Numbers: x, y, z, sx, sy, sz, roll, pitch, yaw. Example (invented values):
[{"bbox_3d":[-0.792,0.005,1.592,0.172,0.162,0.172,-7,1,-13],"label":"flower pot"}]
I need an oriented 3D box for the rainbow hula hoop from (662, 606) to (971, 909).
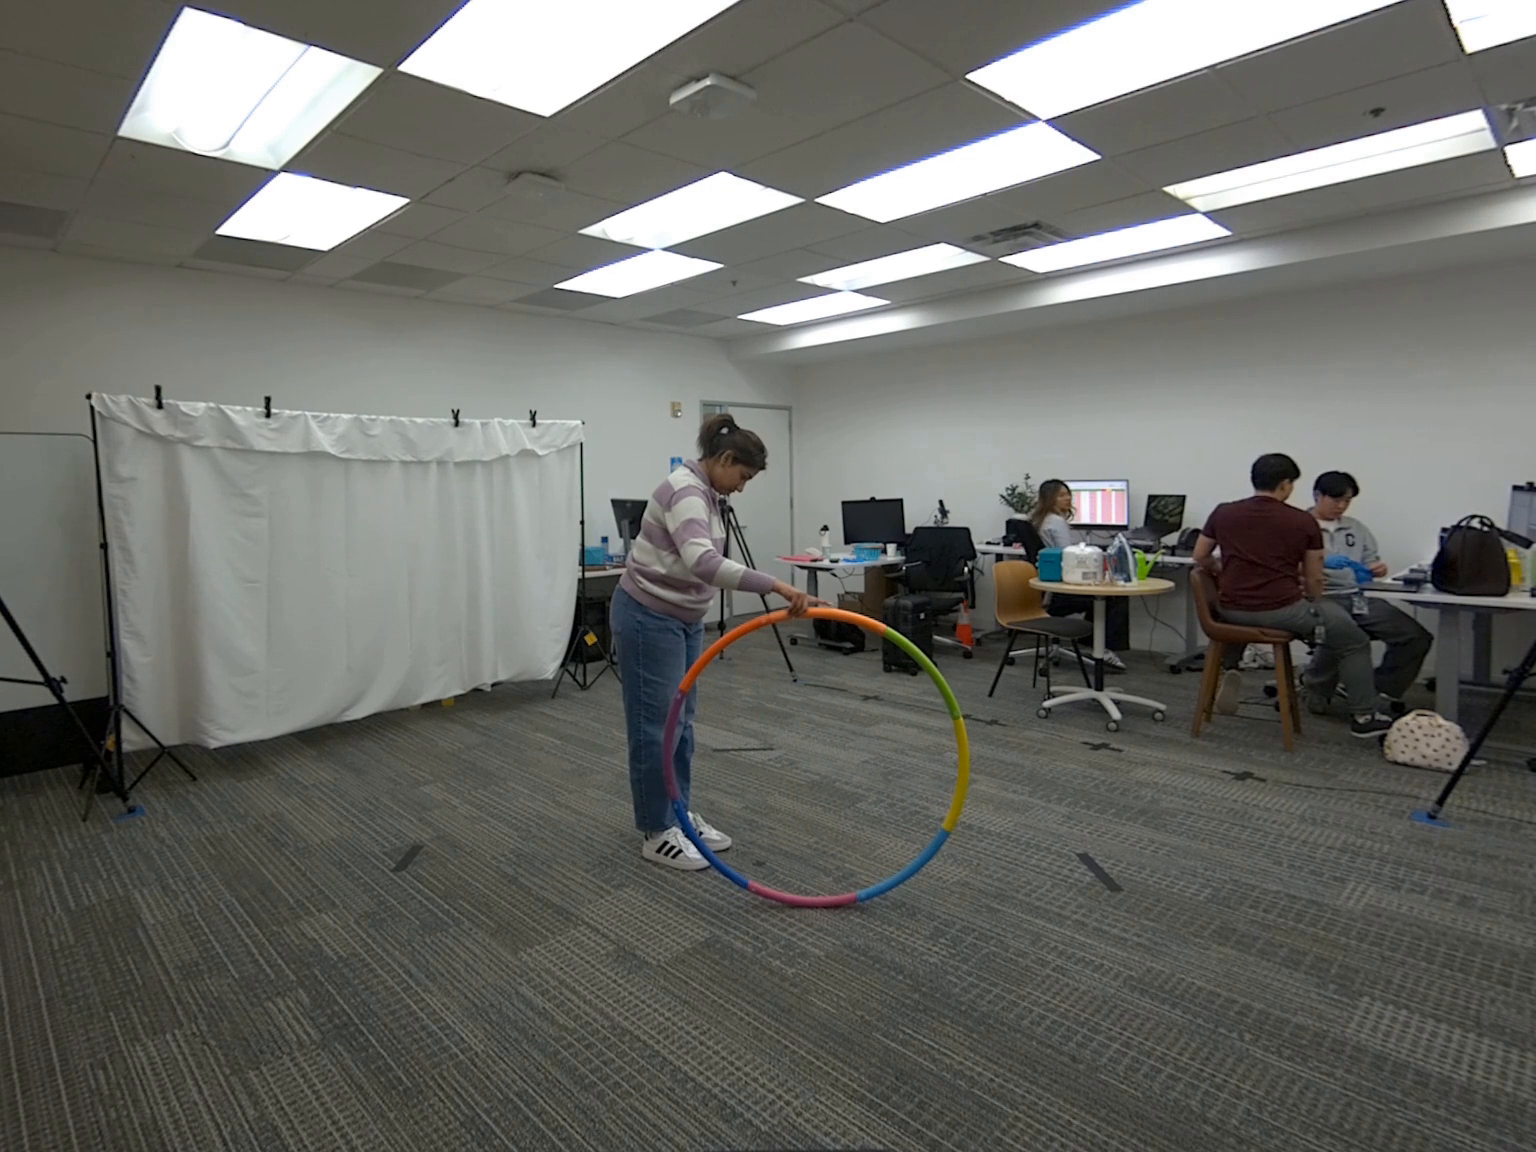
[{"bbox_3d":[0.156,0.591,2.767,0.982,0.976,0.035,-1,2,4],"label":"rainbow hula hoop"}]
